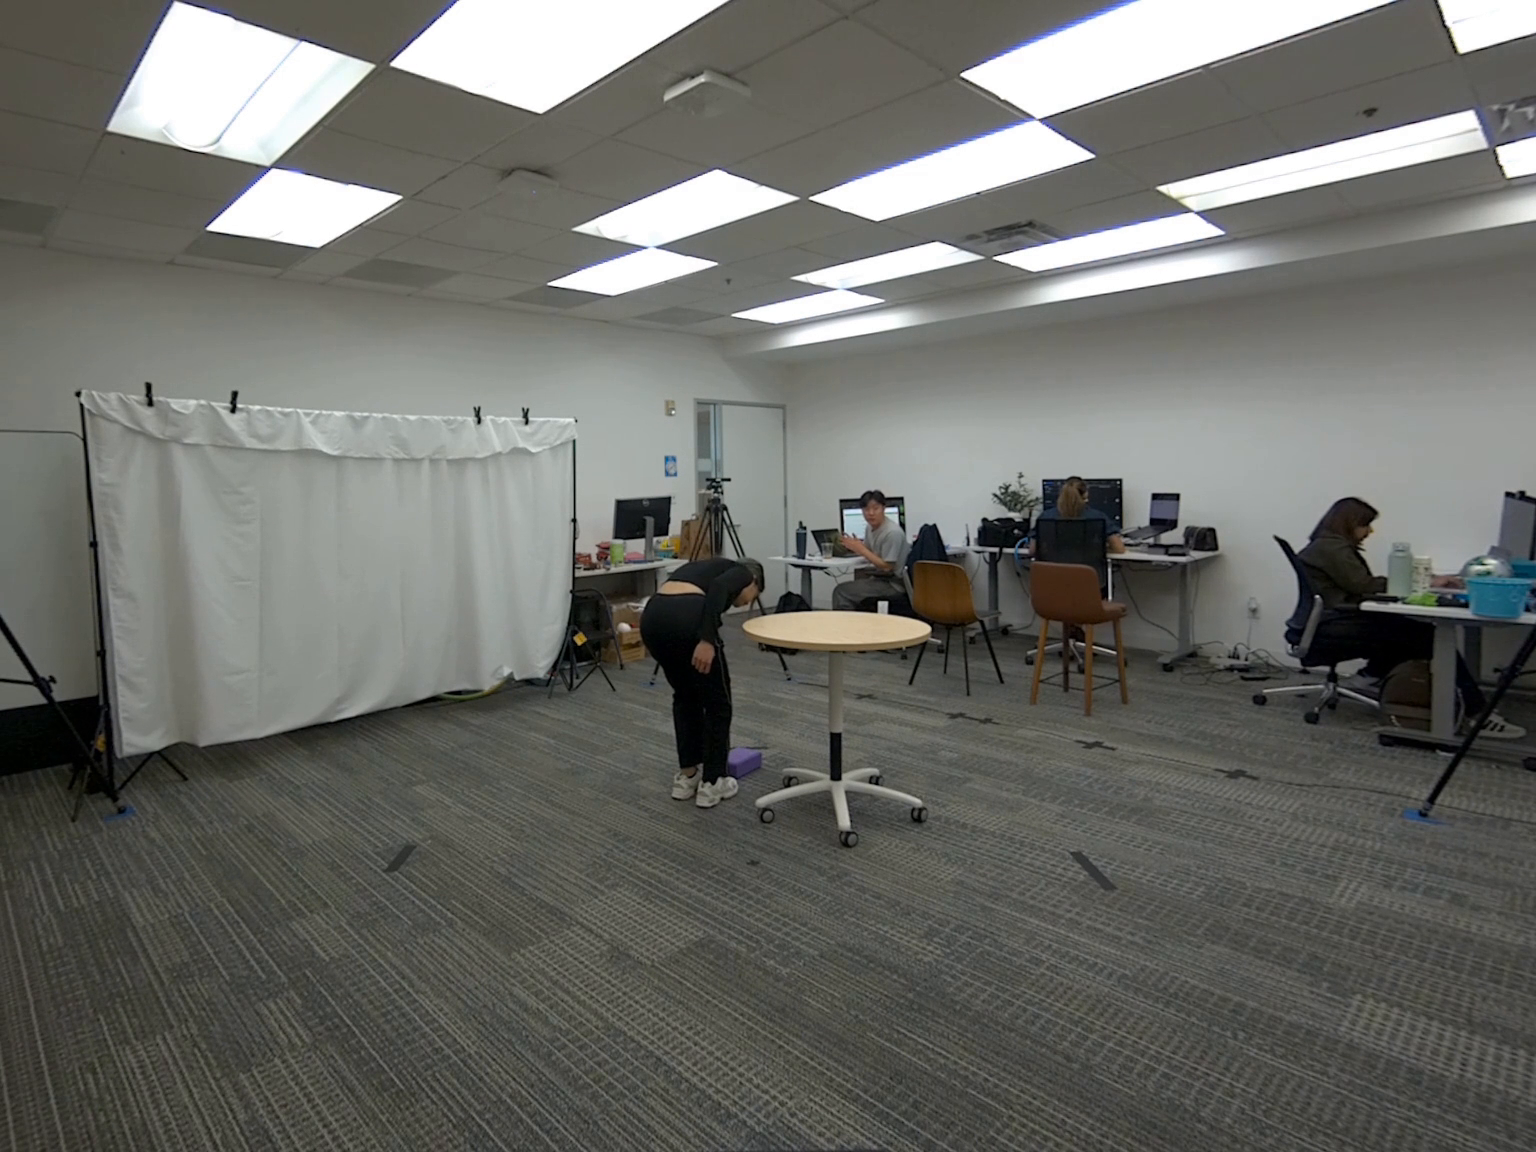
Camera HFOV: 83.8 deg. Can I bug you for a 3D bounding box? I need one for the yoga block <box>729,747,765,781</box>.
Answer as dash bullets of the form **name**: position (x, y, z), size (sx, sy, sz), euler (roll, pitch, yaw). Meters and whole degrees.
- **yoga block**: position (-0.144, 0.895, 4.100), size (0.153, 0.076, 0.224), euler (1, 6, 35)
